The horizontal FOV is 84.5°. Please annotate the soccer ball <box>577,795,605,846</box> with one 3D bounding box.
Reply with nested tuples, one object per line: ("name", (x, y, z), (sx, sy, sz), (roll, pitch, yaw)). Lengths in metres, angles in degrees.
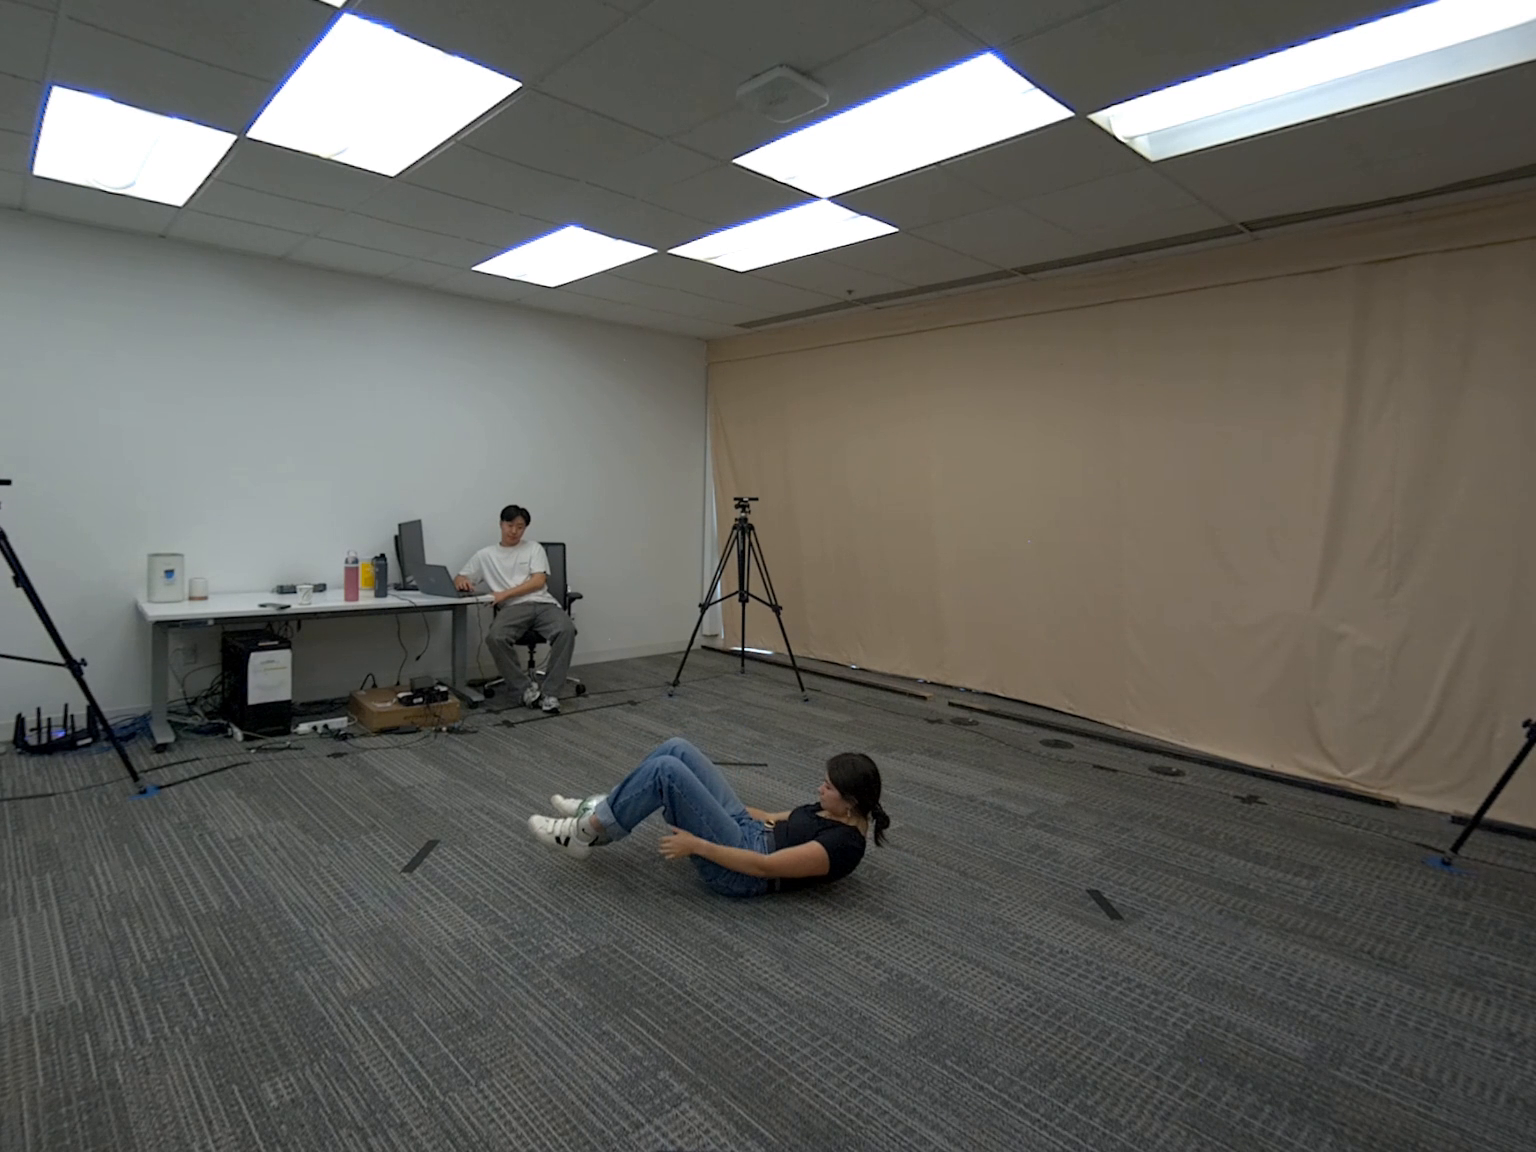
("soccer ball", (-0.615, 0.894, 3.111), (0.187, 0.186, 0.188), (1, 7, -1))
